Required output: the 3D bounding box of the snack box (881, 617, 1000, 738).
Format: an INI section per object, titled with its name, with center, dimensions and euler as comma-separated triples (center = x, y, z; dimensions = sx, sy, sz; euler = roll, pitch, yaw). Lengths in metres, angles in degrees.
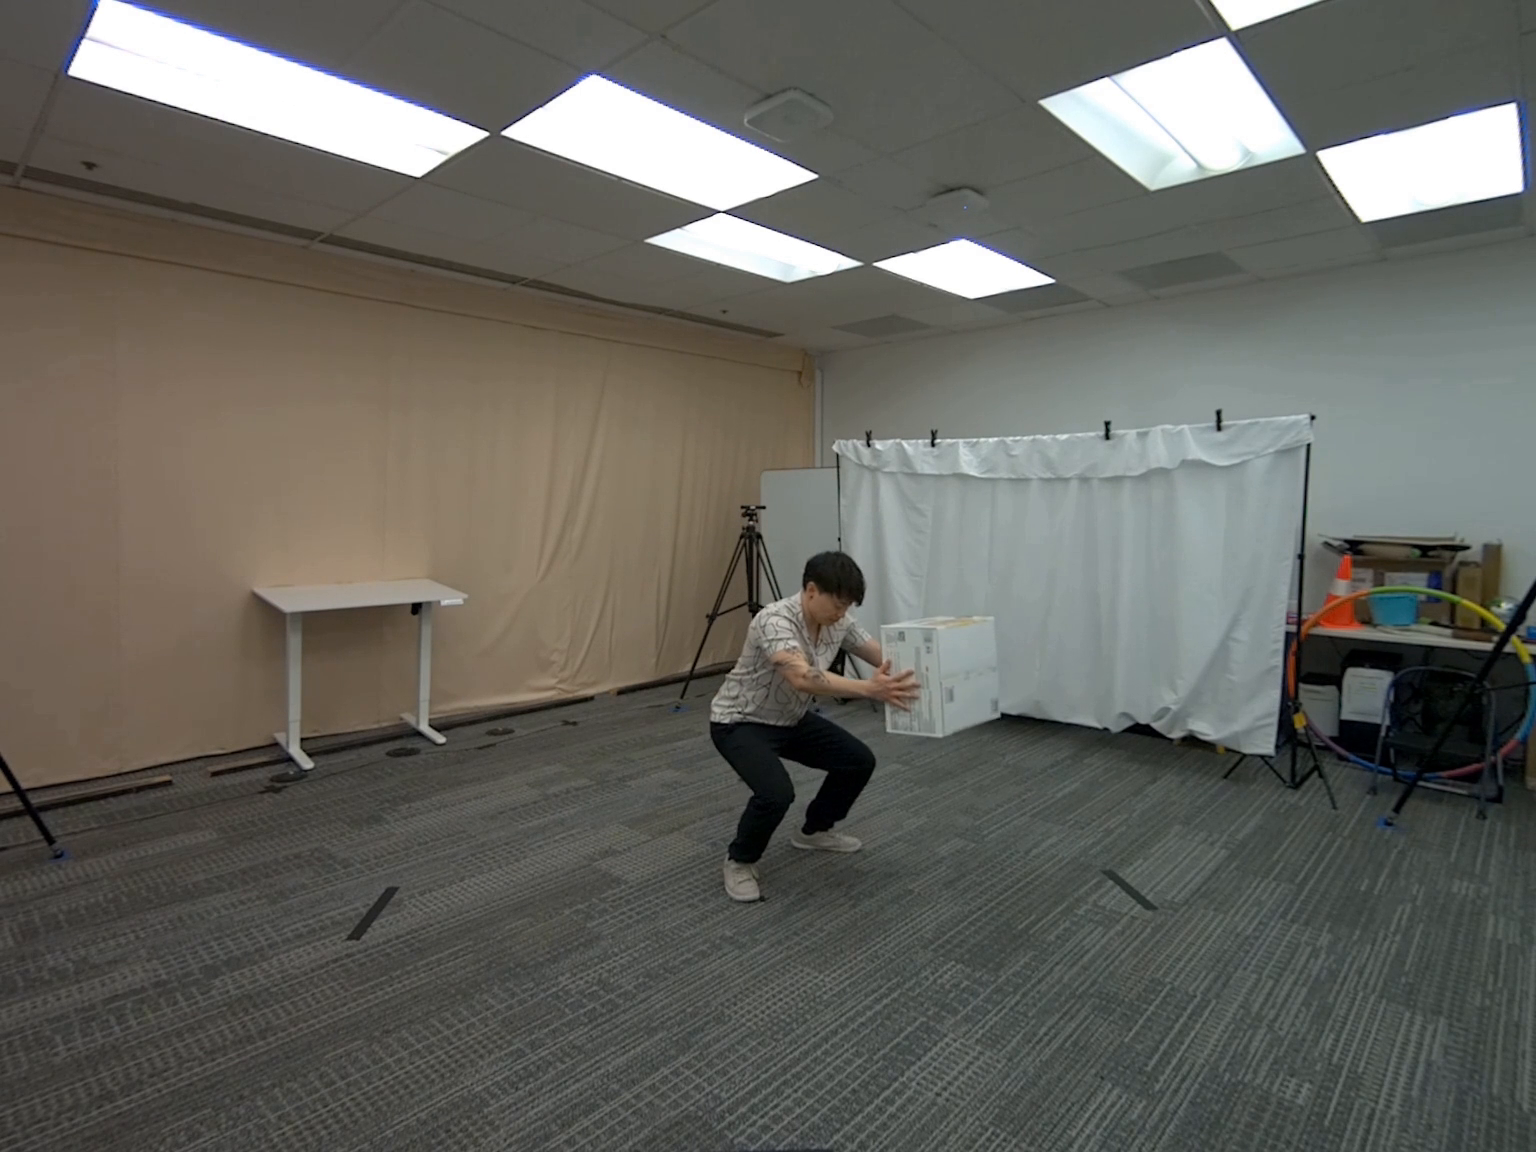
[snack box]
center = 0.580, 0.318, 2.768
dimensions = 0.212, 0.340, 0.392
euler = -5, -1, 41
